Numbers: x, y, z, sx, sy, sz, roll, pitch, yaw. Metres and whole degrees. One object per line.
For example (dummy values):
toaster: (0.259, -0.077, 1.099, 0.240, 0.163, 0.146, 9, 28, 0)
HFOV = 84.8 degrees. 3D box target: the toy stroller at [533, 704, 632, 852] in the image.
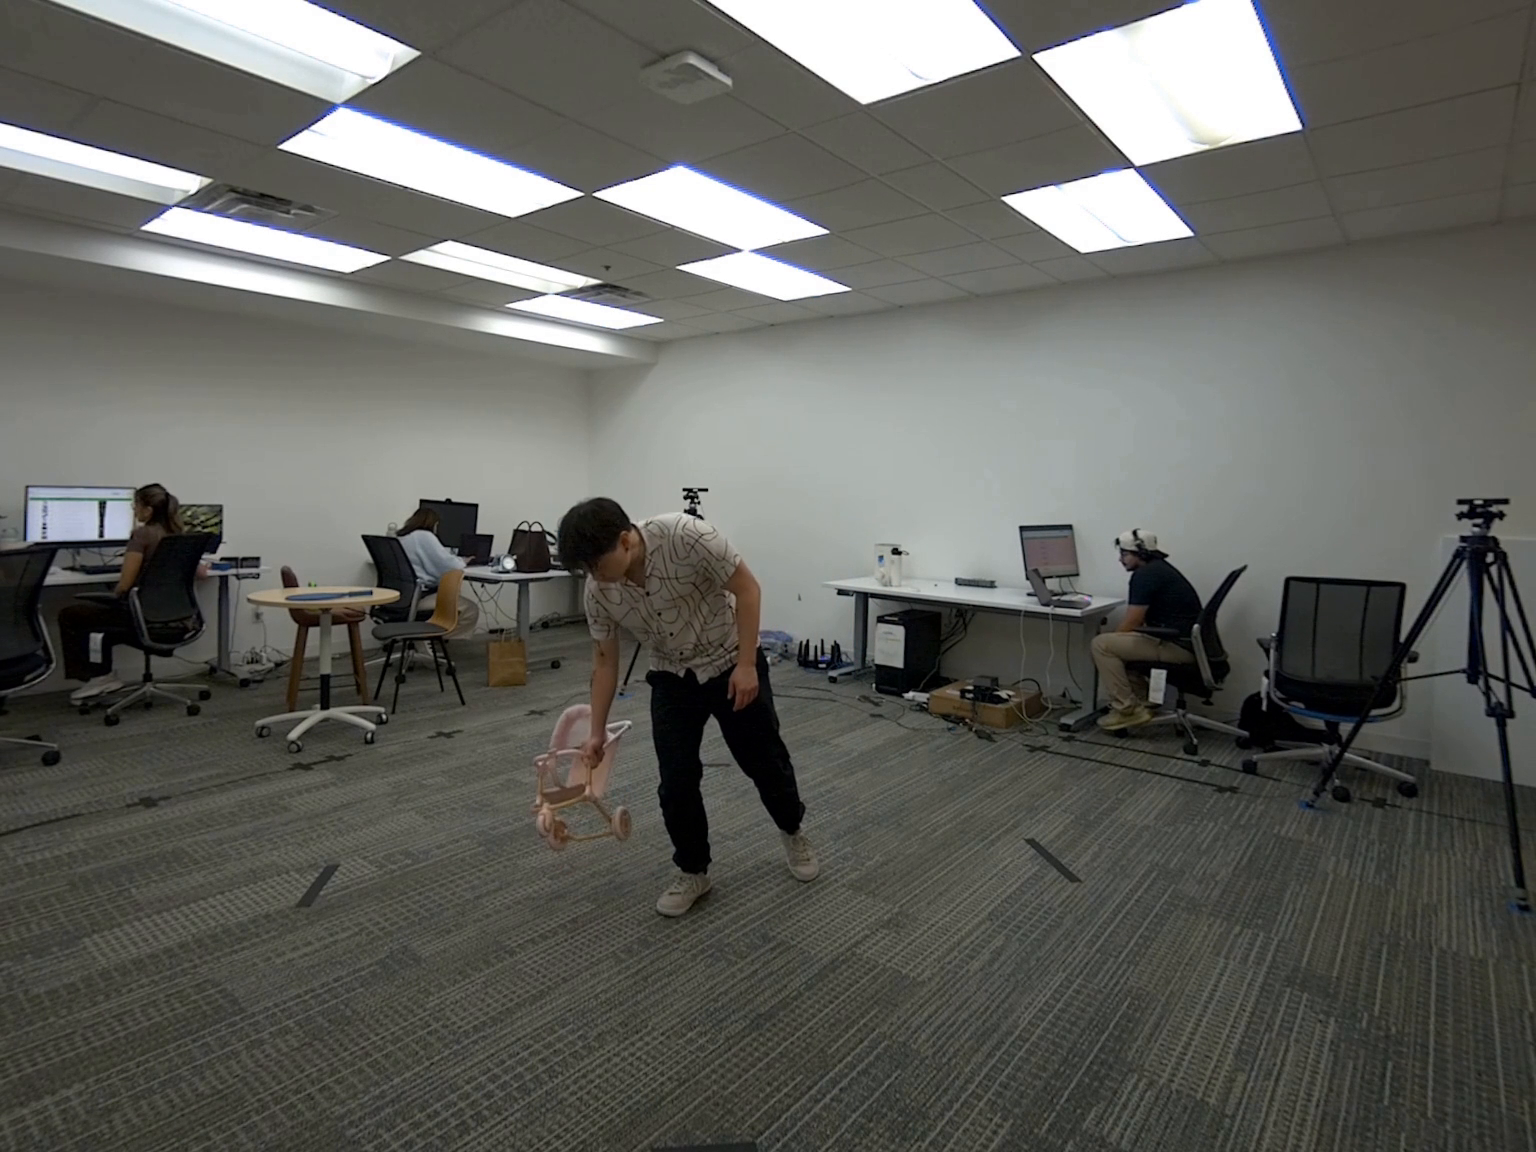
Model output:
toy stroller: (-0.645, 0.659, 2.847, 0.285, 0.550, 0.327, -18, -44, 20)
